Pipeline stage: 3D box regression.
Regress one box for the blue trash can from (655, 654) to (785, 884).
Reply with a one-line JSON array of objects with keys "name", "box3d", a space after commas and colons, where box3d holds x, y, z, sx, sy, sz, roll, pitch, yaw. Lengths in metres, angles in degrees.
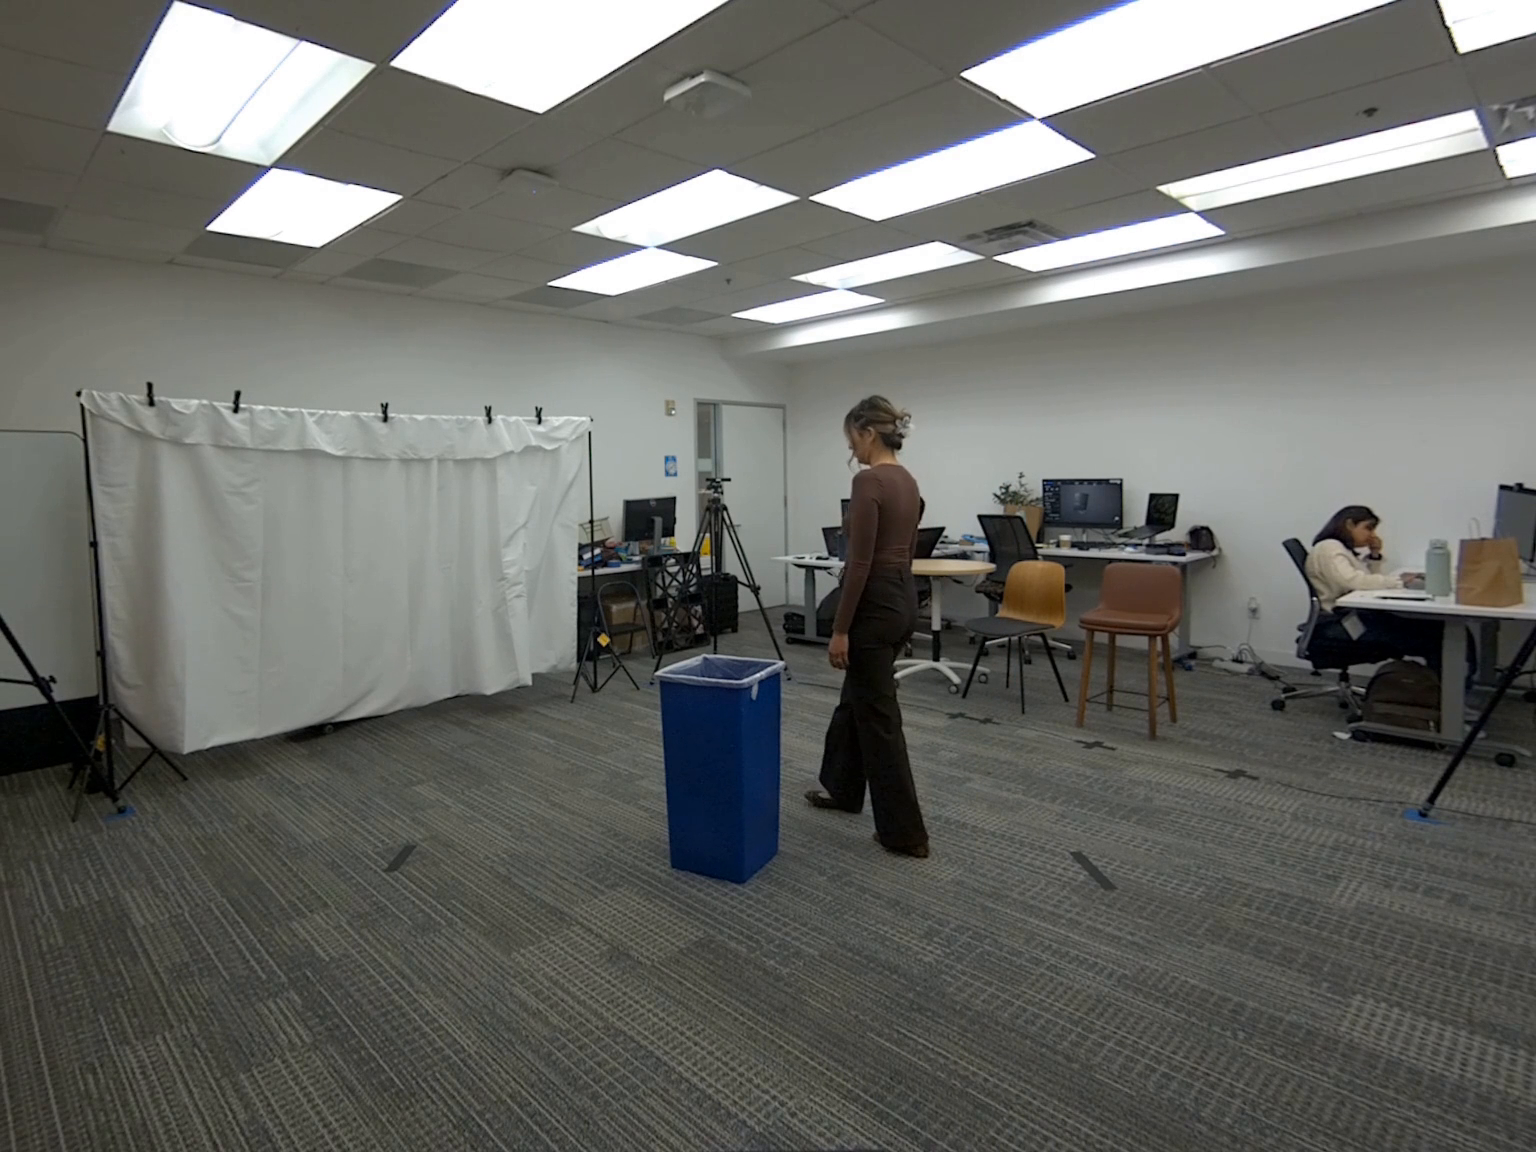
[{"name": "blue trash can", "box3d": [-0.166, 0.683, 3.118, 0.383, 0.711, 0.370, 2, 4, 28]}]
